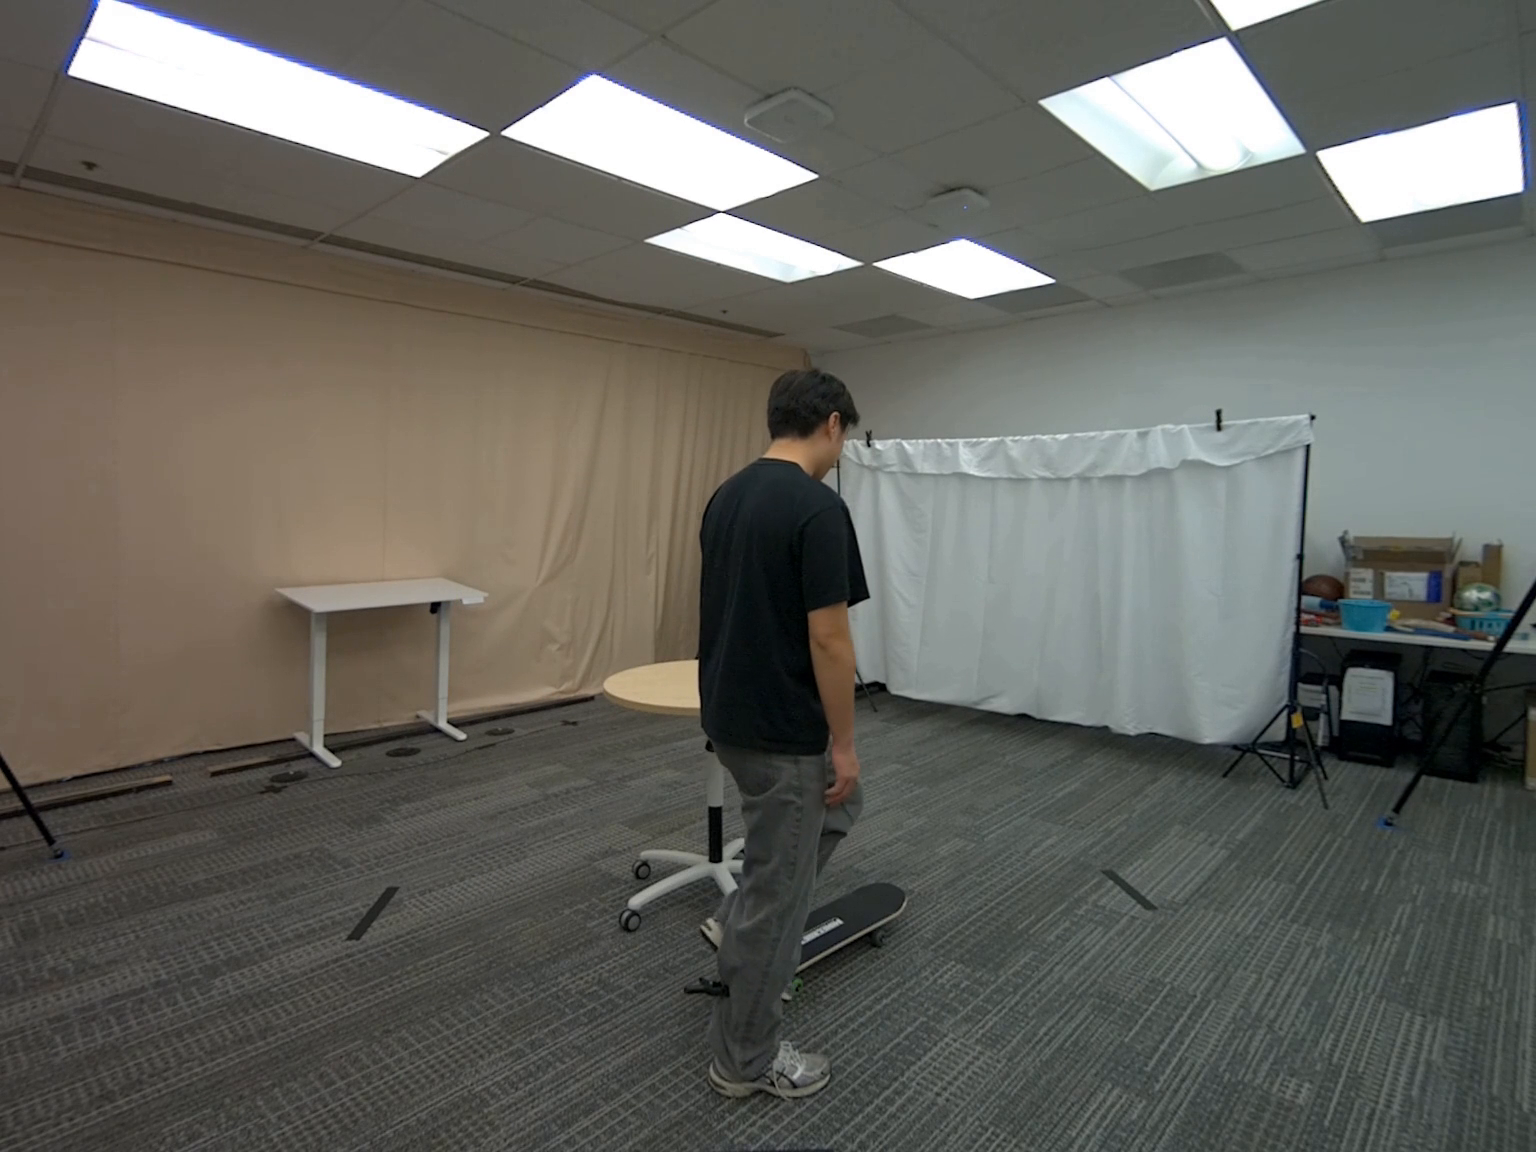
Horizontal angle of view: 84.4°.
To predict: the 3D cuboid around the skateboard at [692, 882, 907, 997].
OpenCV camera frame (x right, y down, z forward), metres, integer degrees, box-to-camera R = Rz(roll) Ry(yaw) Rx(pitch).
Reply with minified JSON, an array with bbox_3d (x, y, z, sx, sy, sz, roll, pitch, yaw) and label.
[{"bbox_3d":[0.155,1.126,2.574,0.761,0.110,0.200,-5,6,-44],"label":"skateboard"}]
